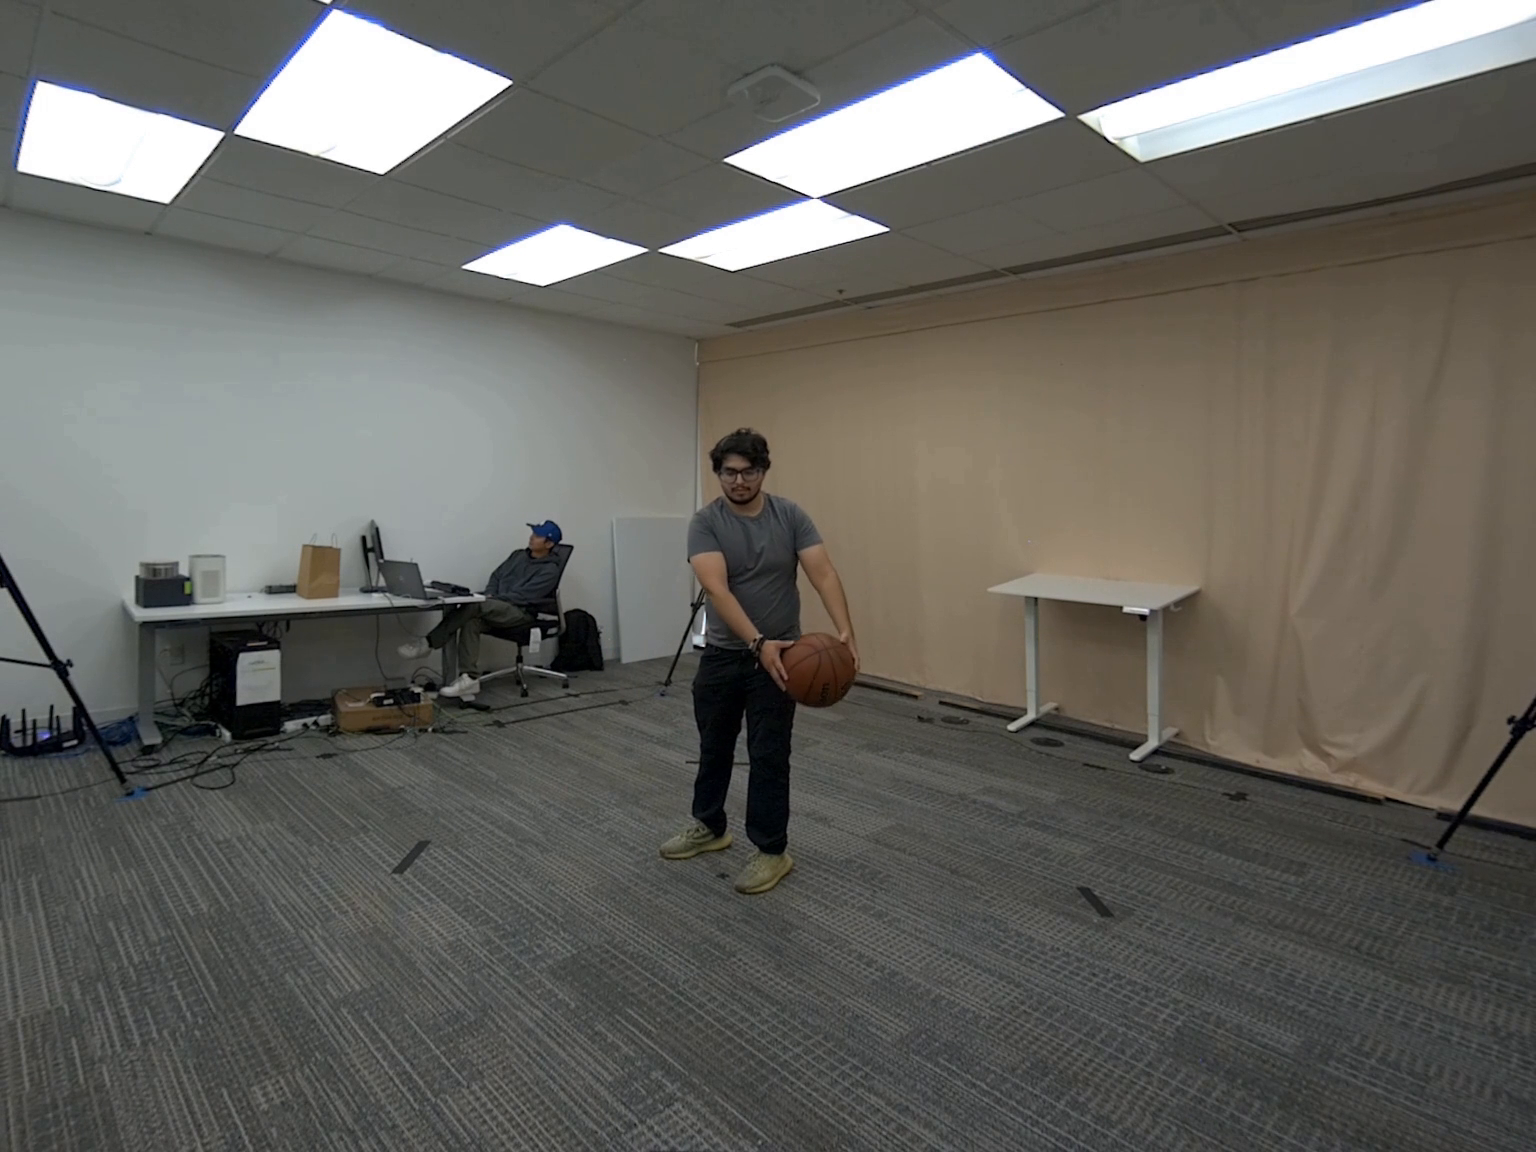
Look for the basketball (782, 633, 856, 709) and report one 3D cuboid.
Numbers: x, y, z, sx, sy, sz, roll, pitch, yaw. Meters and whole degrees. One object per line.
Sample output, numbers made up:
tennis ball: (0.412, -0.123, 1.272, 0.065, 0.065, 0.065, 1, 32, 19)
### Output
basketball: (0.155, 0.293, 2.684, 0.236, 0.235, 0.237, 1, 4, -1)
